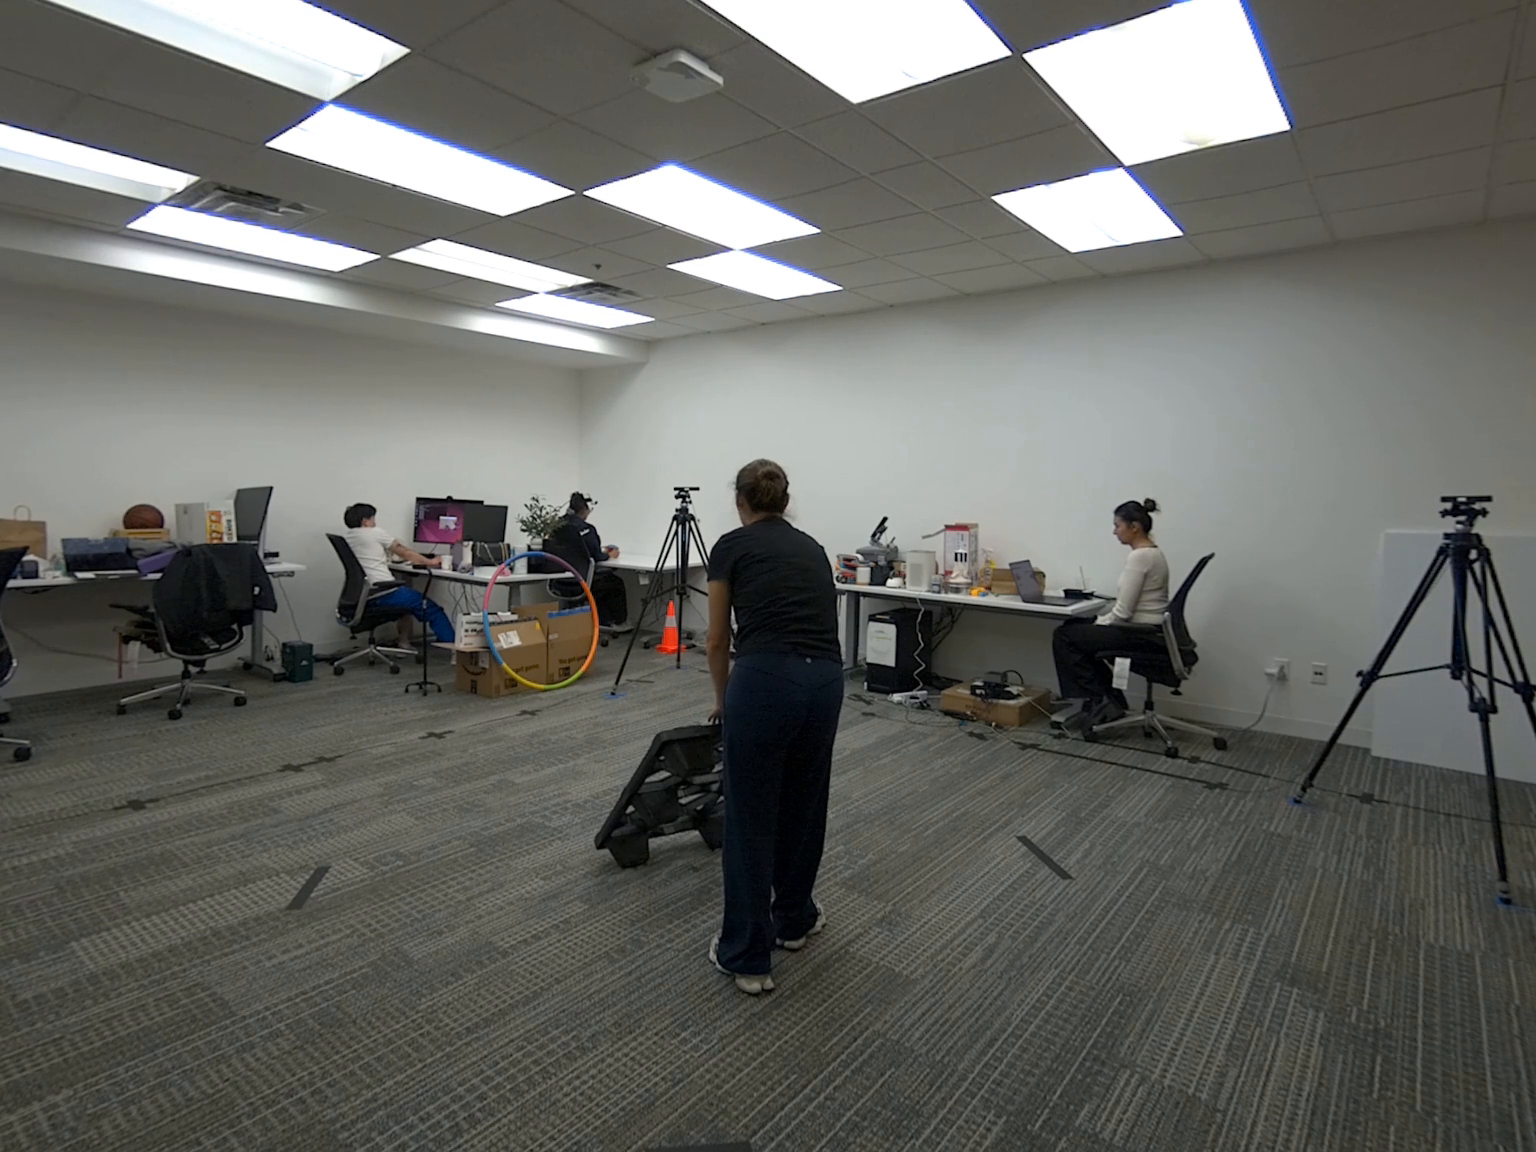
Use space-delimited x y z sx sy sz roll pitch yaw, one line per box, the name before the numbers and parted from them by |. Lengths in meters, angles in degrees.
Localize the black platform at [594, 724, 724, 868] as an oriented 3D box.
black platform | -0.210 0.774 3.029 0.589 0.149 0.797 -1 -40 -30
